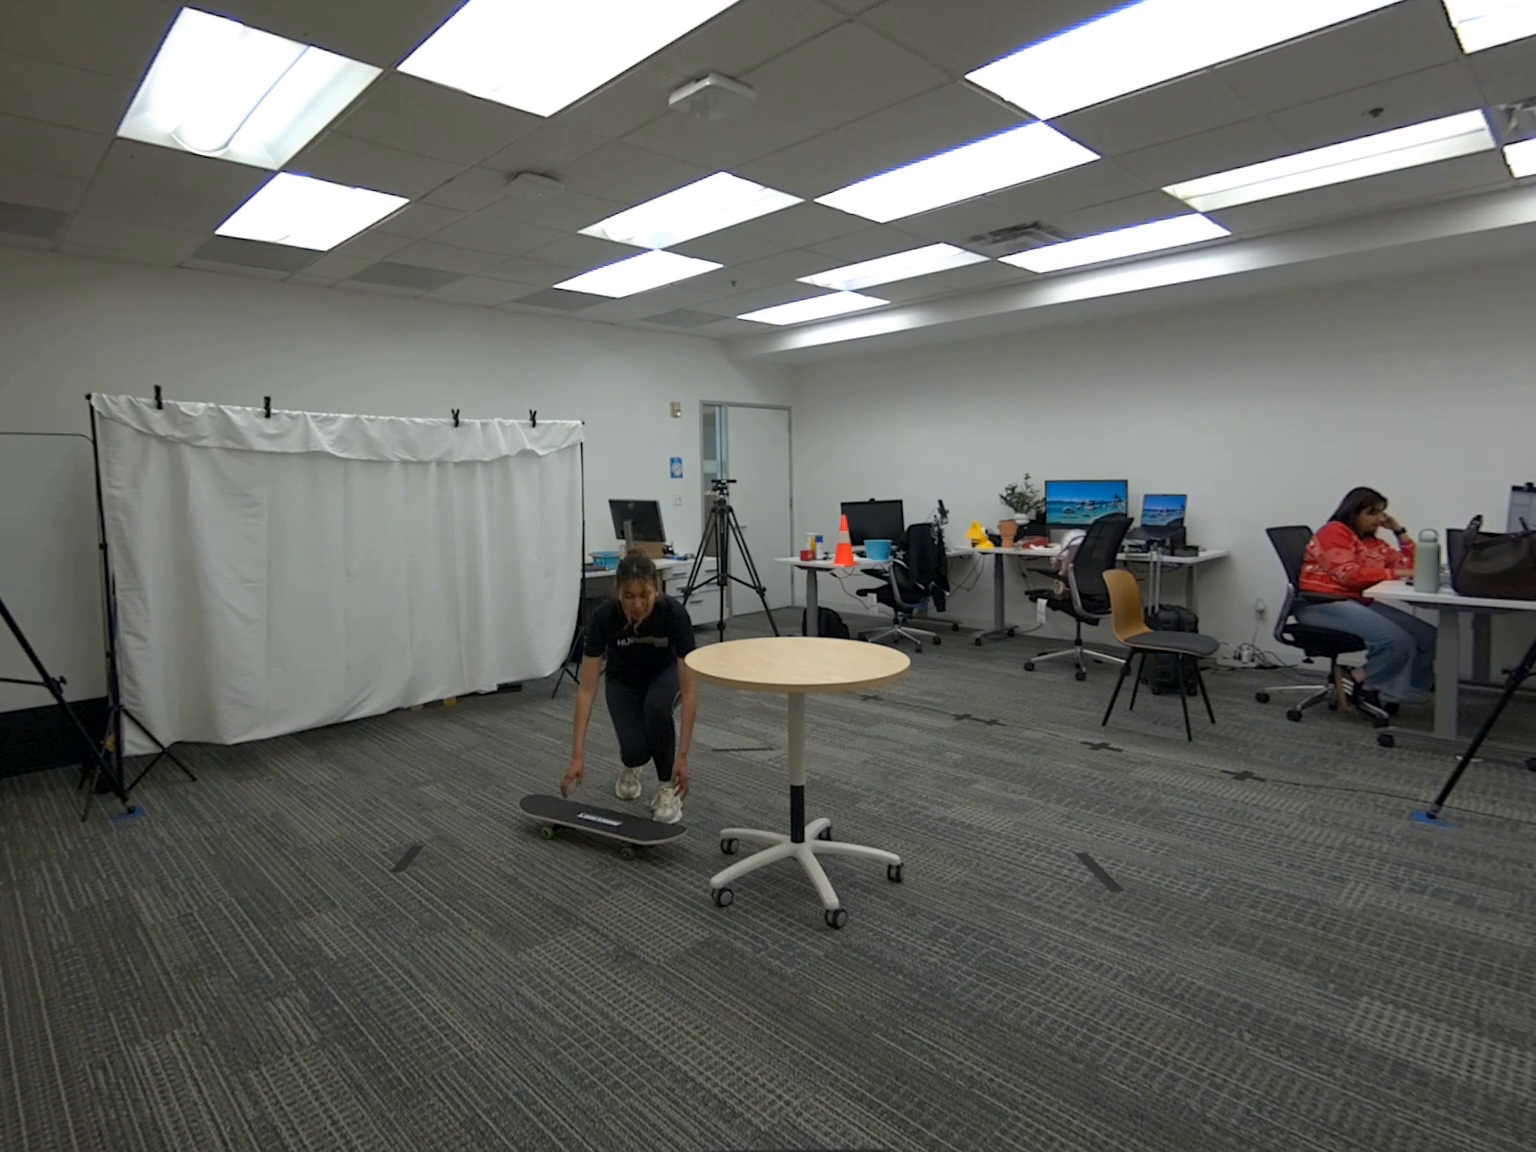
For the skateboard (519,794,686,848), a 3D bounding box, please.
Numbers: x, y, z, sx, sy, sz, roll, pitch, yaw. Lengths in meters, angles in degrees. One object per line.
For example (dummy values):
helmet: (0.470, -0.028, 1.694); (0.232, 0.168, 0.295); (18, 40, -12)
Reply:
skateboard: (-0.653, 0.979, 3.328); (0.806, 0.110, 0.189); (2, 6, 30)
